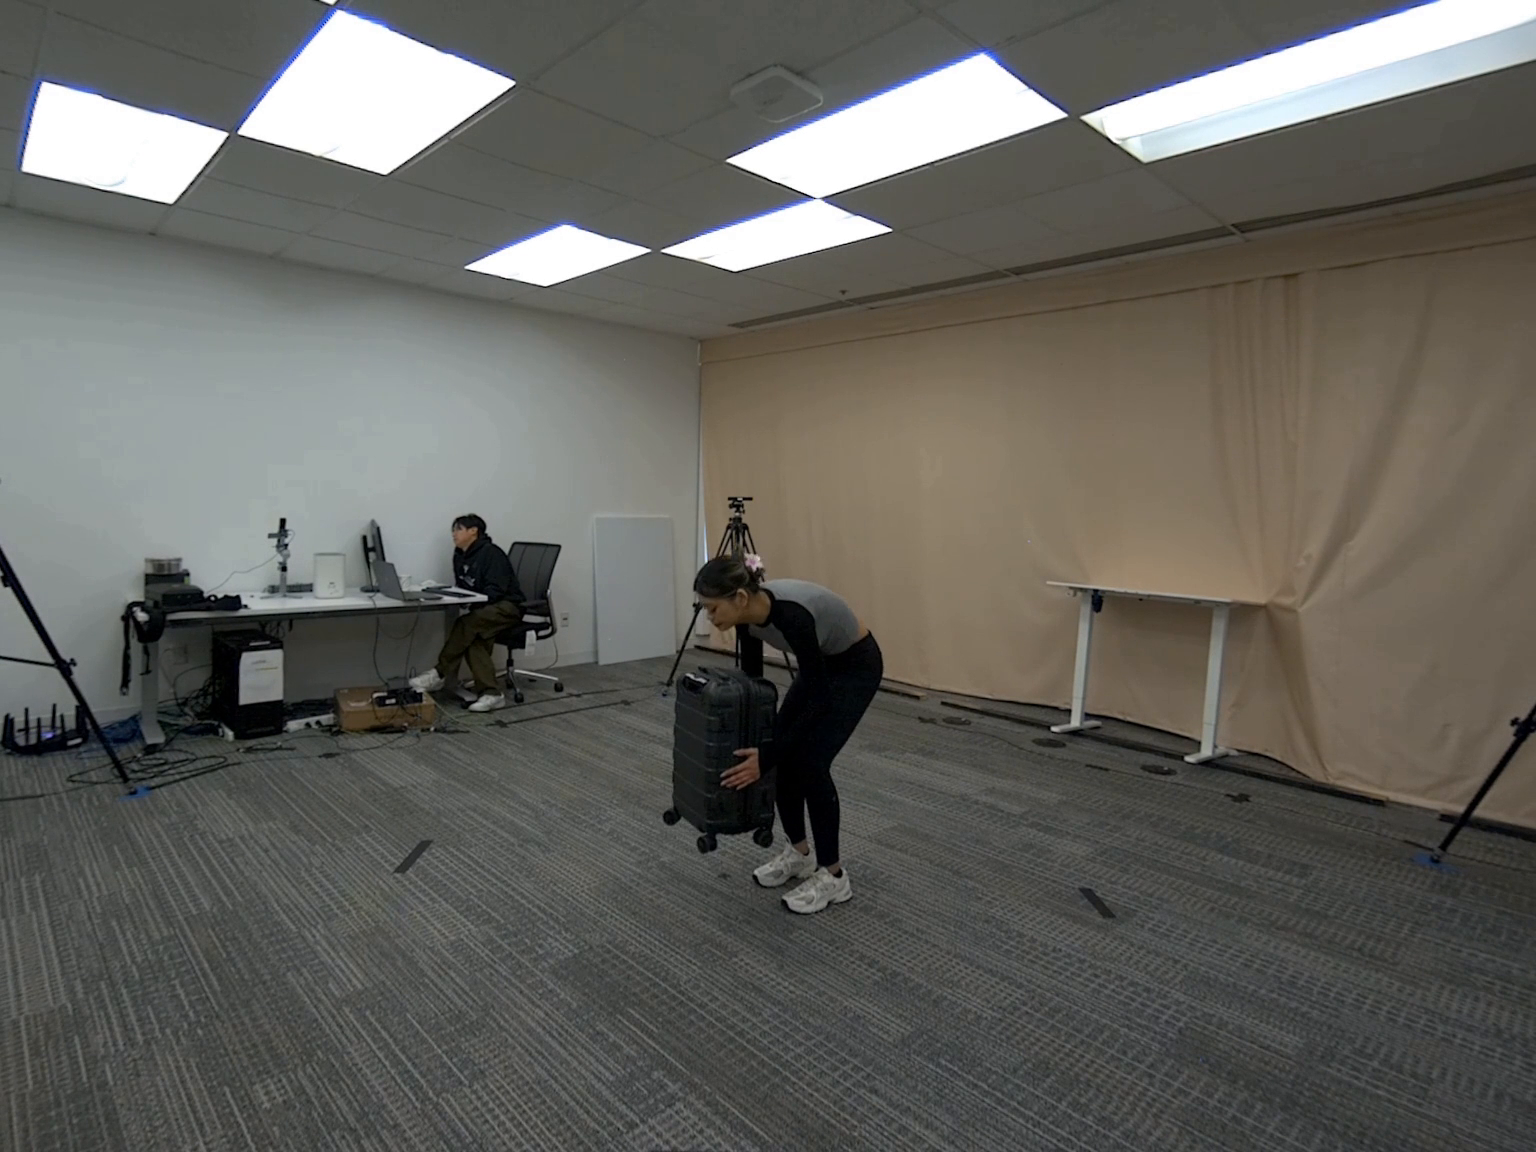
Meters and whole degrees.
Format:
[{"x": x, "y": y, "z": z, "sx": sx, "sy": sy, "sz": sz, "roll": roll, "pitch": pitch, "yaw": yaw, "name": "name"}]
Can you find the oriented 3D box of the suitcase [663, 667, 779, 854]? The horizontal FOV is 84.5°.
[{"x": -0.156, "y": 0.587, "z": 2.810, "sx": 0.244, "sy": 0.549, "sz": 0.382, "roll": 1, "pitch": 1, "yaw": -26, "name": "suitcase"}]
